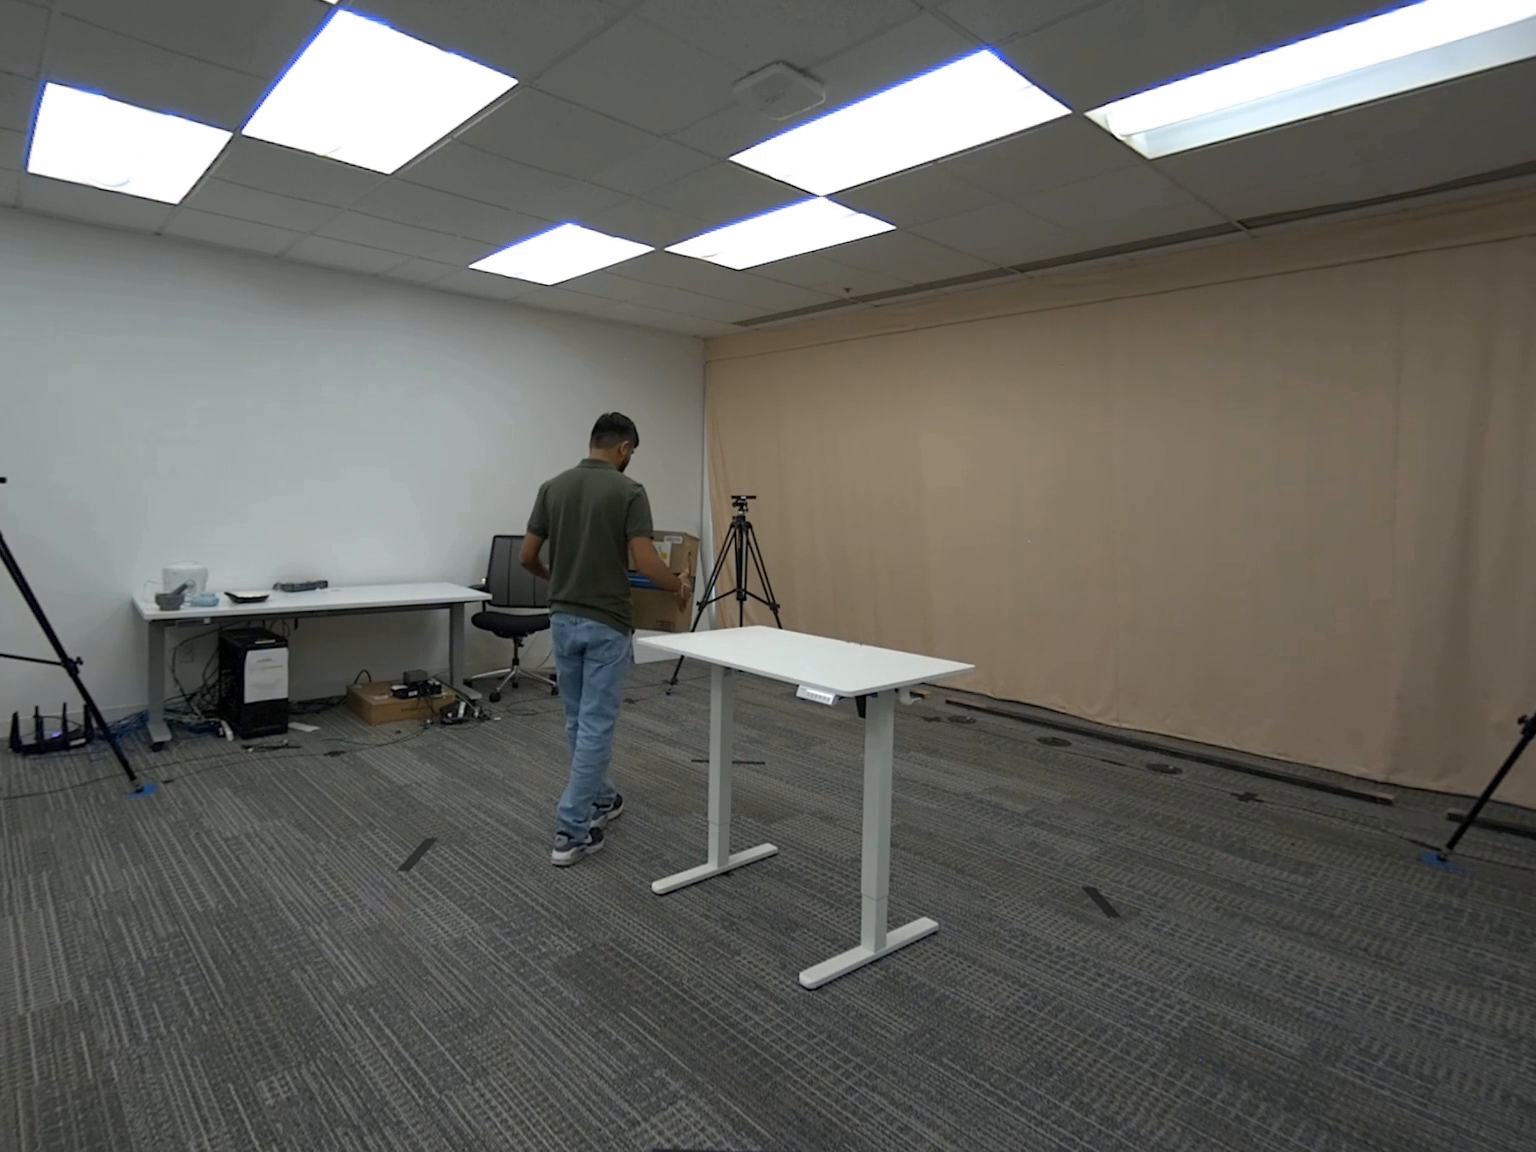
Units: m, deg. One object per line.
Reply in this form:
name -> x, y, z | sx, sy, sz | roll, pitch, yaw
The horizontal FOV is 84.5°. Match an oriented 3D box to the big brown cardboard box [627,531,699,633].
big brown cardboard box -> -0.608, 0.012, 3.641 | 0.597, 0.418, 0.229 | 4, -4, 16
